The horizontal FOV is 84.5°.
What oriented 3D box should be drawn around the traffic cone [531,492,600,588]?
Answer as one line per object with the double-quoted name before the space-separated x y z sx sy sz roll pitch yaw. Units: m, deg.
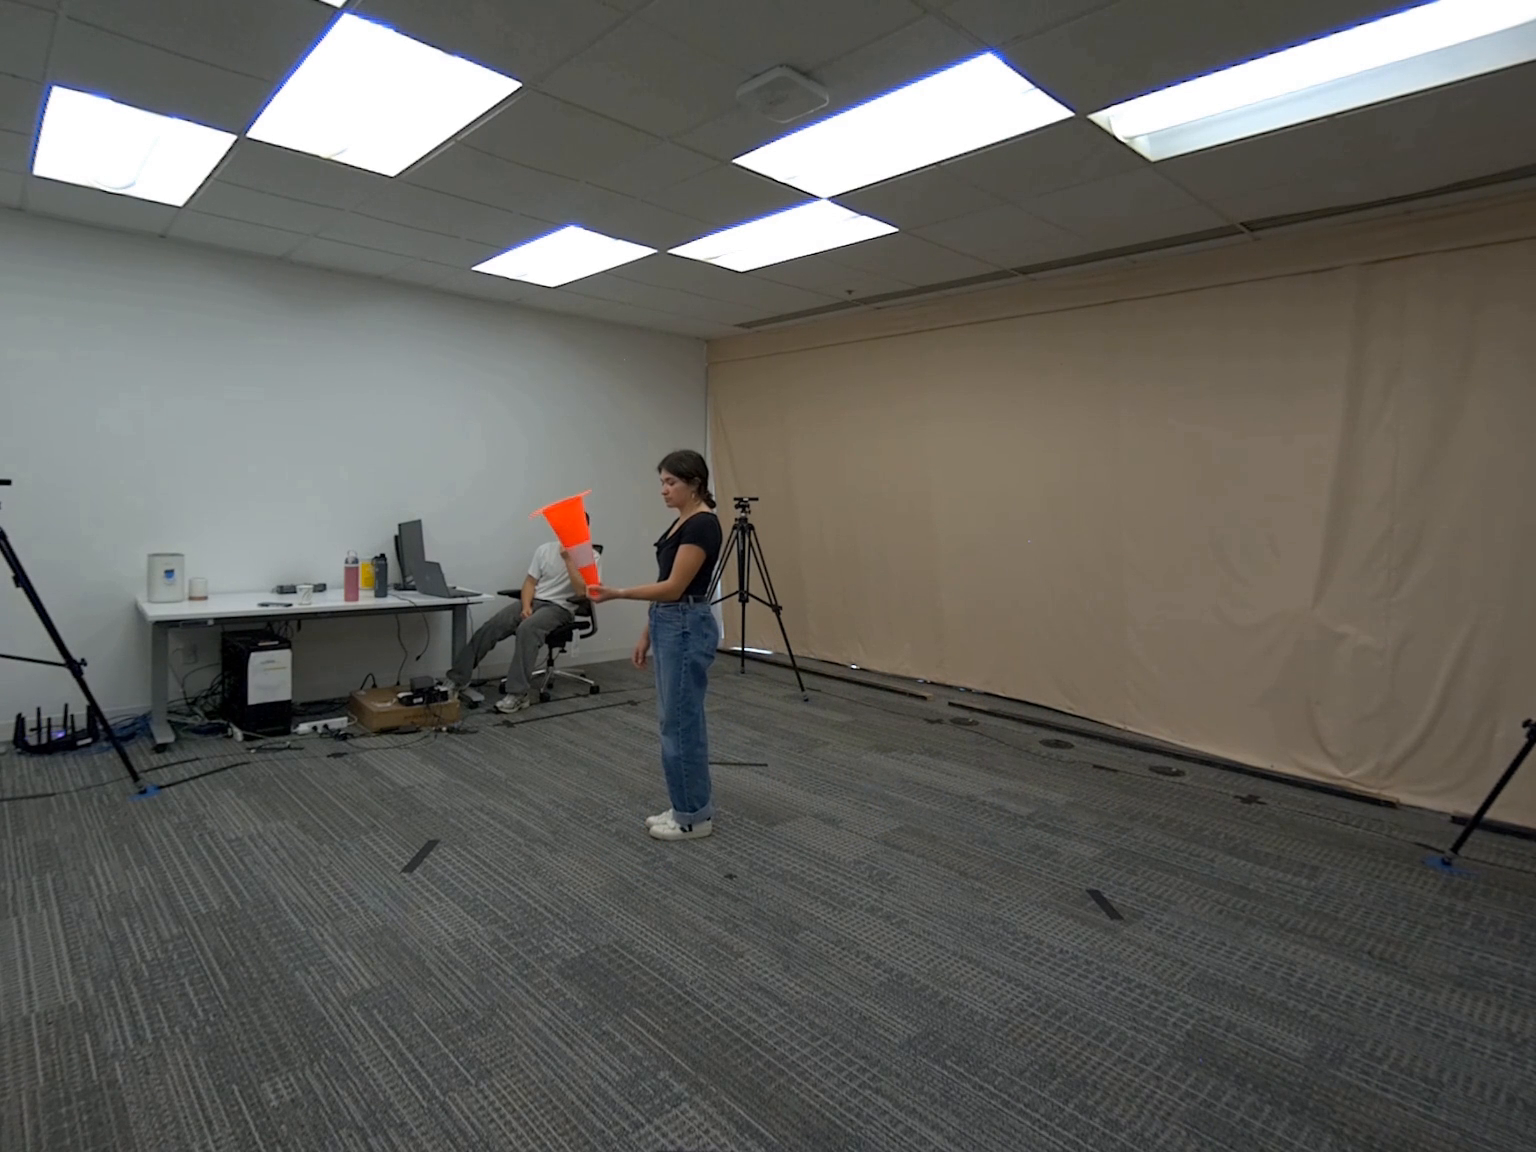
"traffic cone" -0.723 -0.106 3.193 0.205 0.379 0.205 -16 13 19
